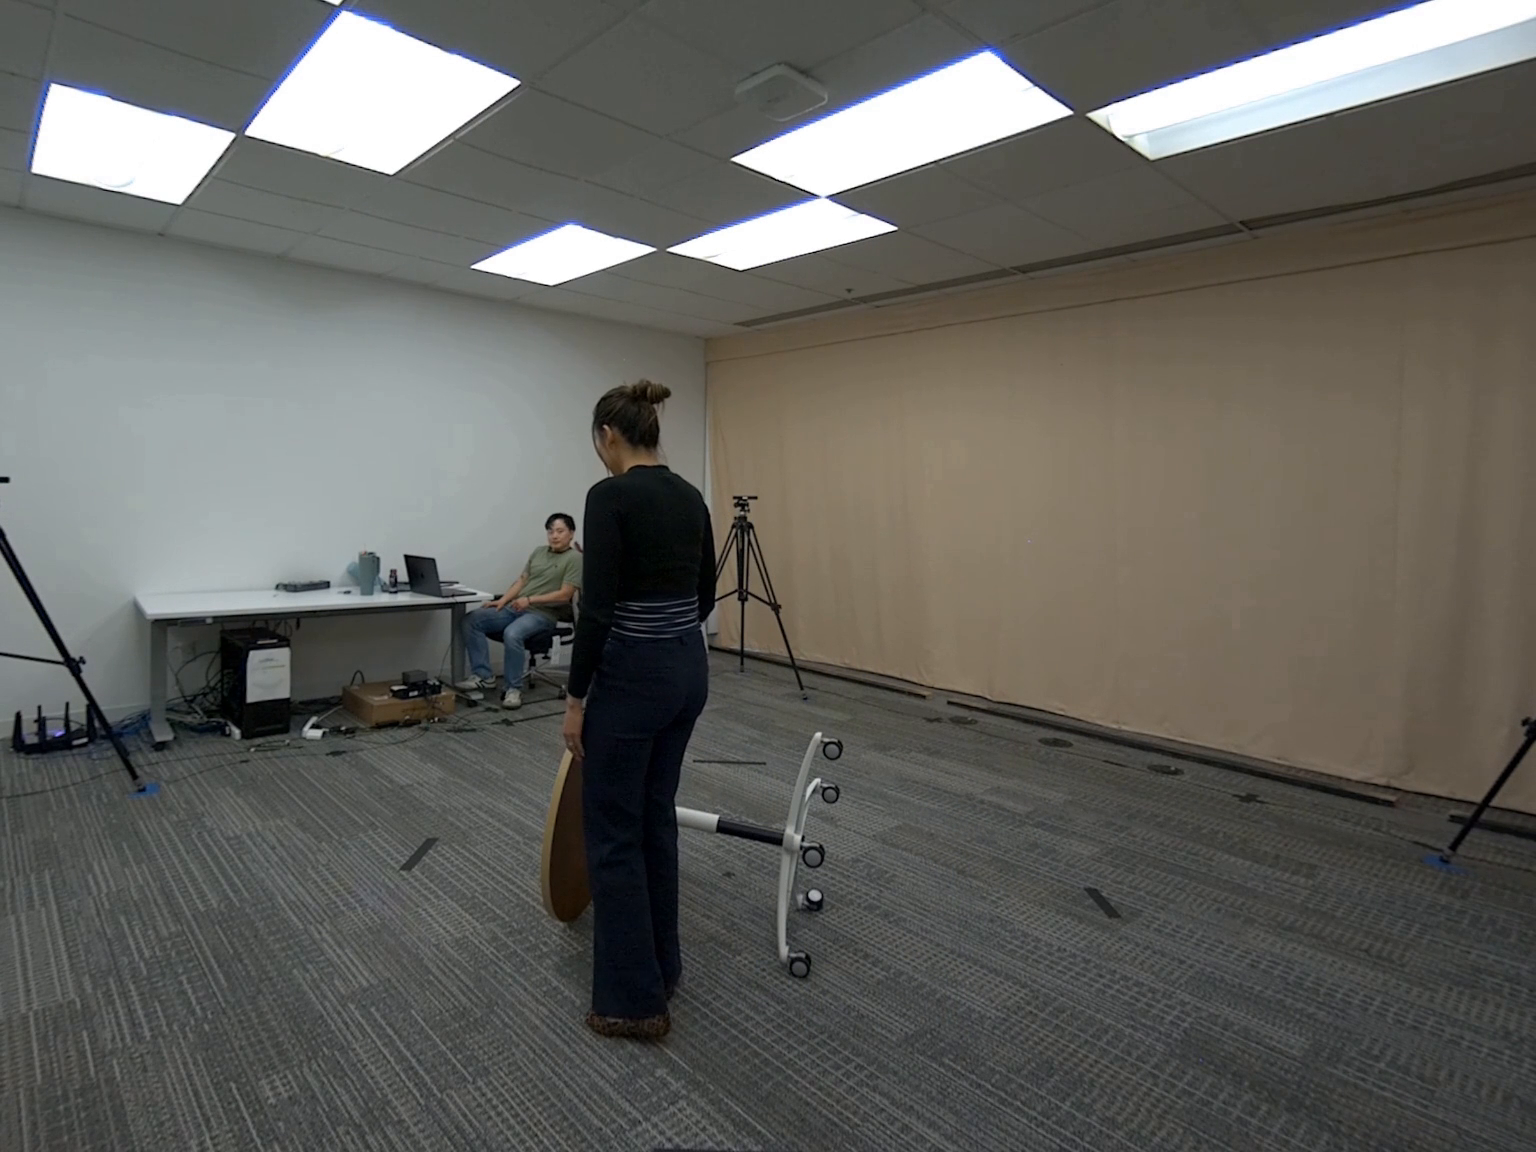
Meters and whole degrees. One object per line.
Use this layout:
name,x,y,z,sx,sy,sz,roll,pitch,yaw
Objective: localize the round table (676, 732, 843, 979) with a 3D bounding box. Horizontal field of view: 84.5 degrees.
round table,-0.203,0.802,2.721,0.801,0.761,0.759,8,5,10
